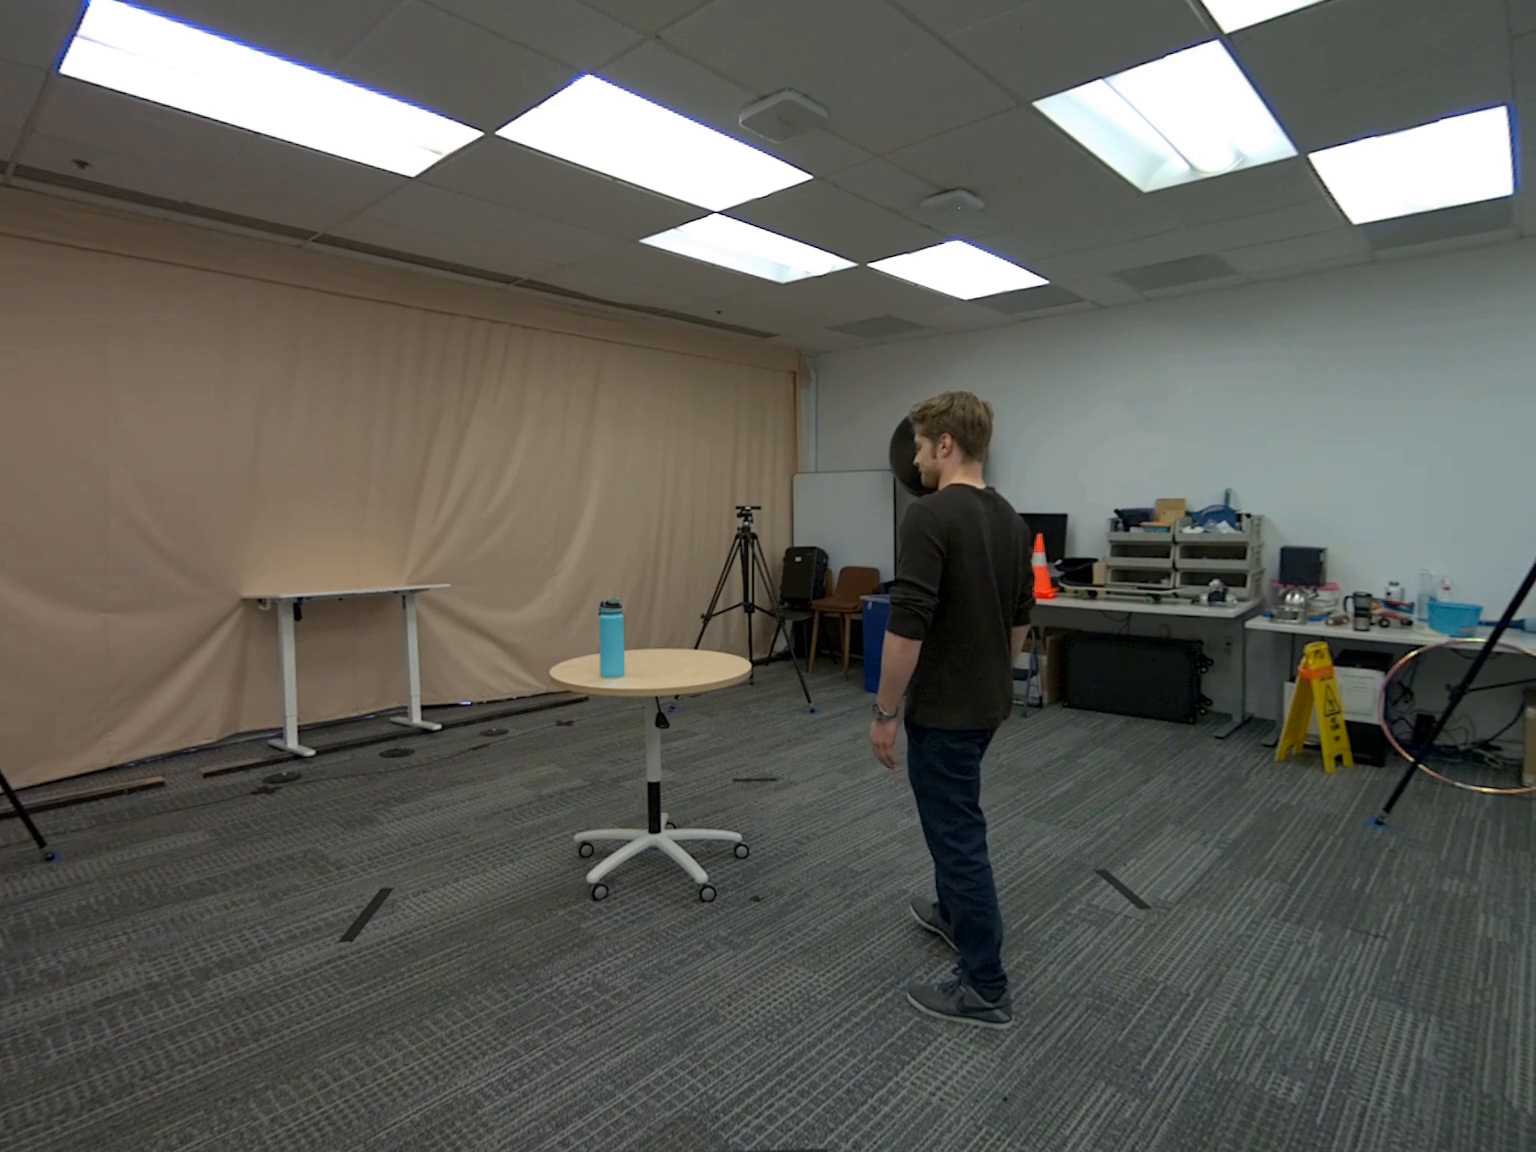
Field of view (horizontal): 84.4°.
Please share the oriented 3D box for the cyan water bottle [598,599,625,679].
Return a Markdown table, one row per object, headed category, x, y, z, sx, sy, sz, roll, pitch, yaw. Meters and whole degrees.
| category | x | y | z | sx | sy | sz | roll | pitch | yaw |
| --- | --- | --- | --- | --- | --- | --- | --- | --- | --- |
| cyan water bottle | -0.567 | 0.223 | 3.051 | 0.092 | 0.283 | 0.092 | -3 | 1 | -2 |
